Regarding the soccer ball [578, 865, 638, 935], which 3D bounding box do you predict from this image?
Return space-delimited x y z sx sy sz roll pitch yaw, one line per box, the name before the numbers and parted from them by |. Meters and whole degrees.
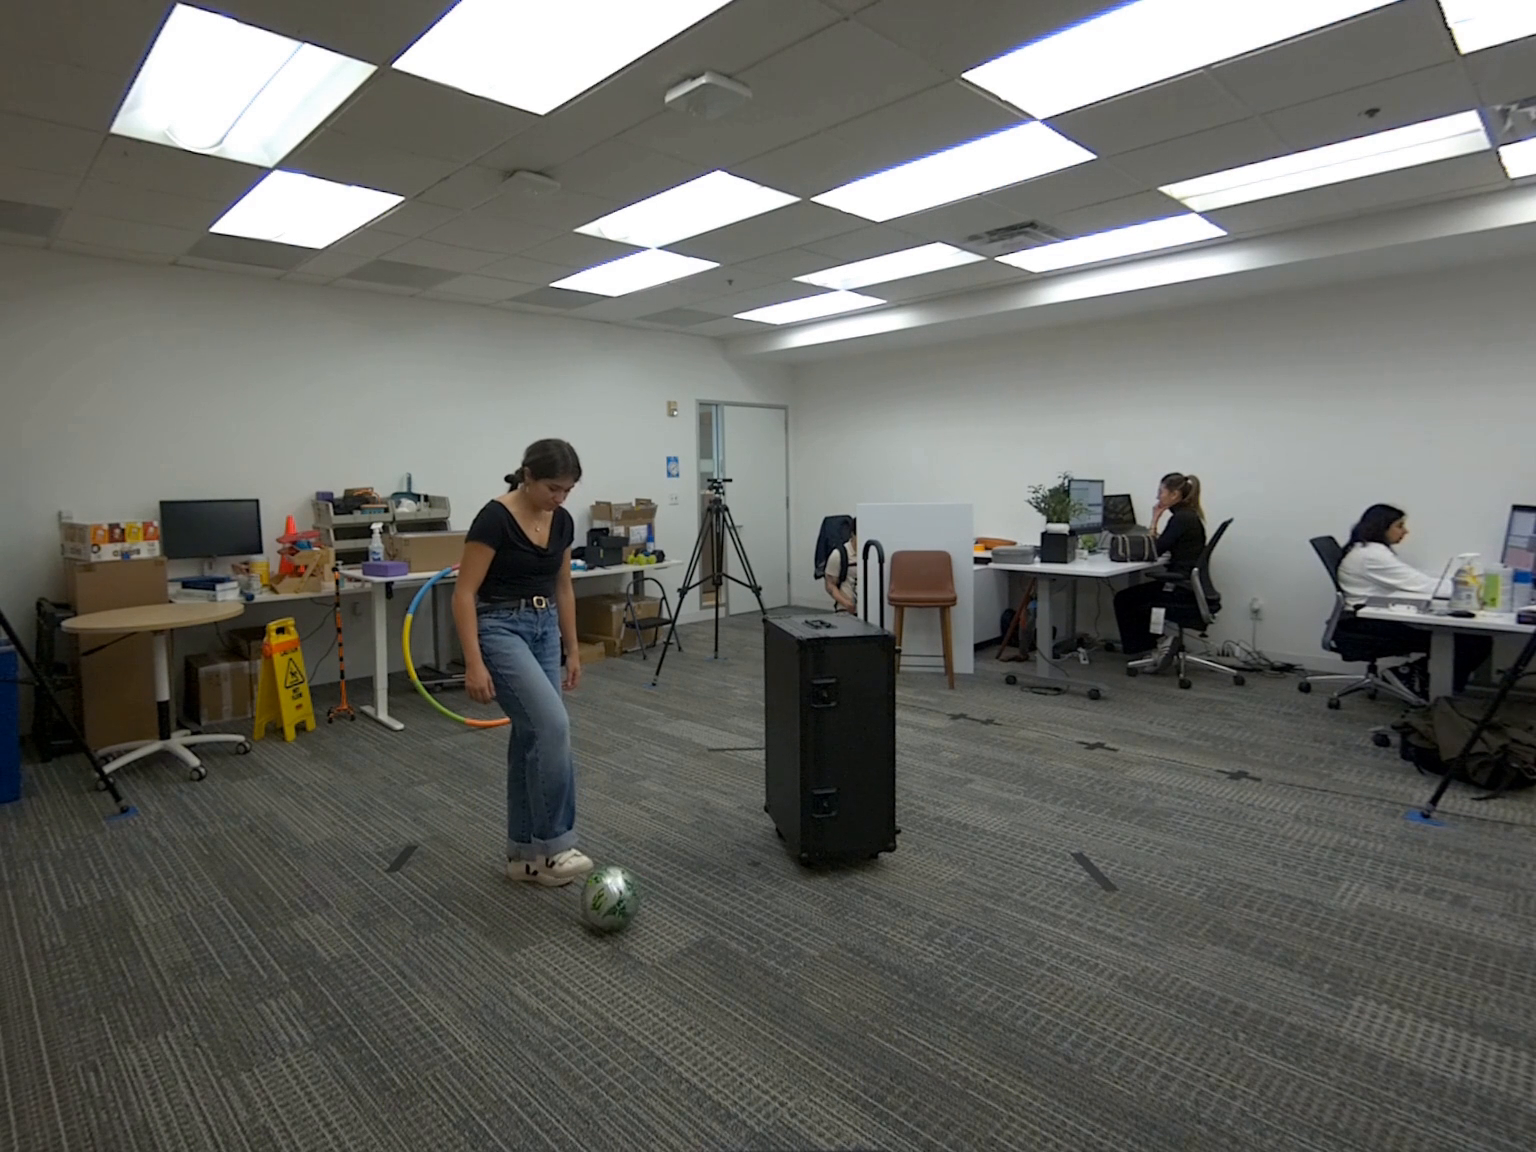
soccer ball | -0.486 1.012 2.675 0.187 0.187 0.188 -1 5 -2
